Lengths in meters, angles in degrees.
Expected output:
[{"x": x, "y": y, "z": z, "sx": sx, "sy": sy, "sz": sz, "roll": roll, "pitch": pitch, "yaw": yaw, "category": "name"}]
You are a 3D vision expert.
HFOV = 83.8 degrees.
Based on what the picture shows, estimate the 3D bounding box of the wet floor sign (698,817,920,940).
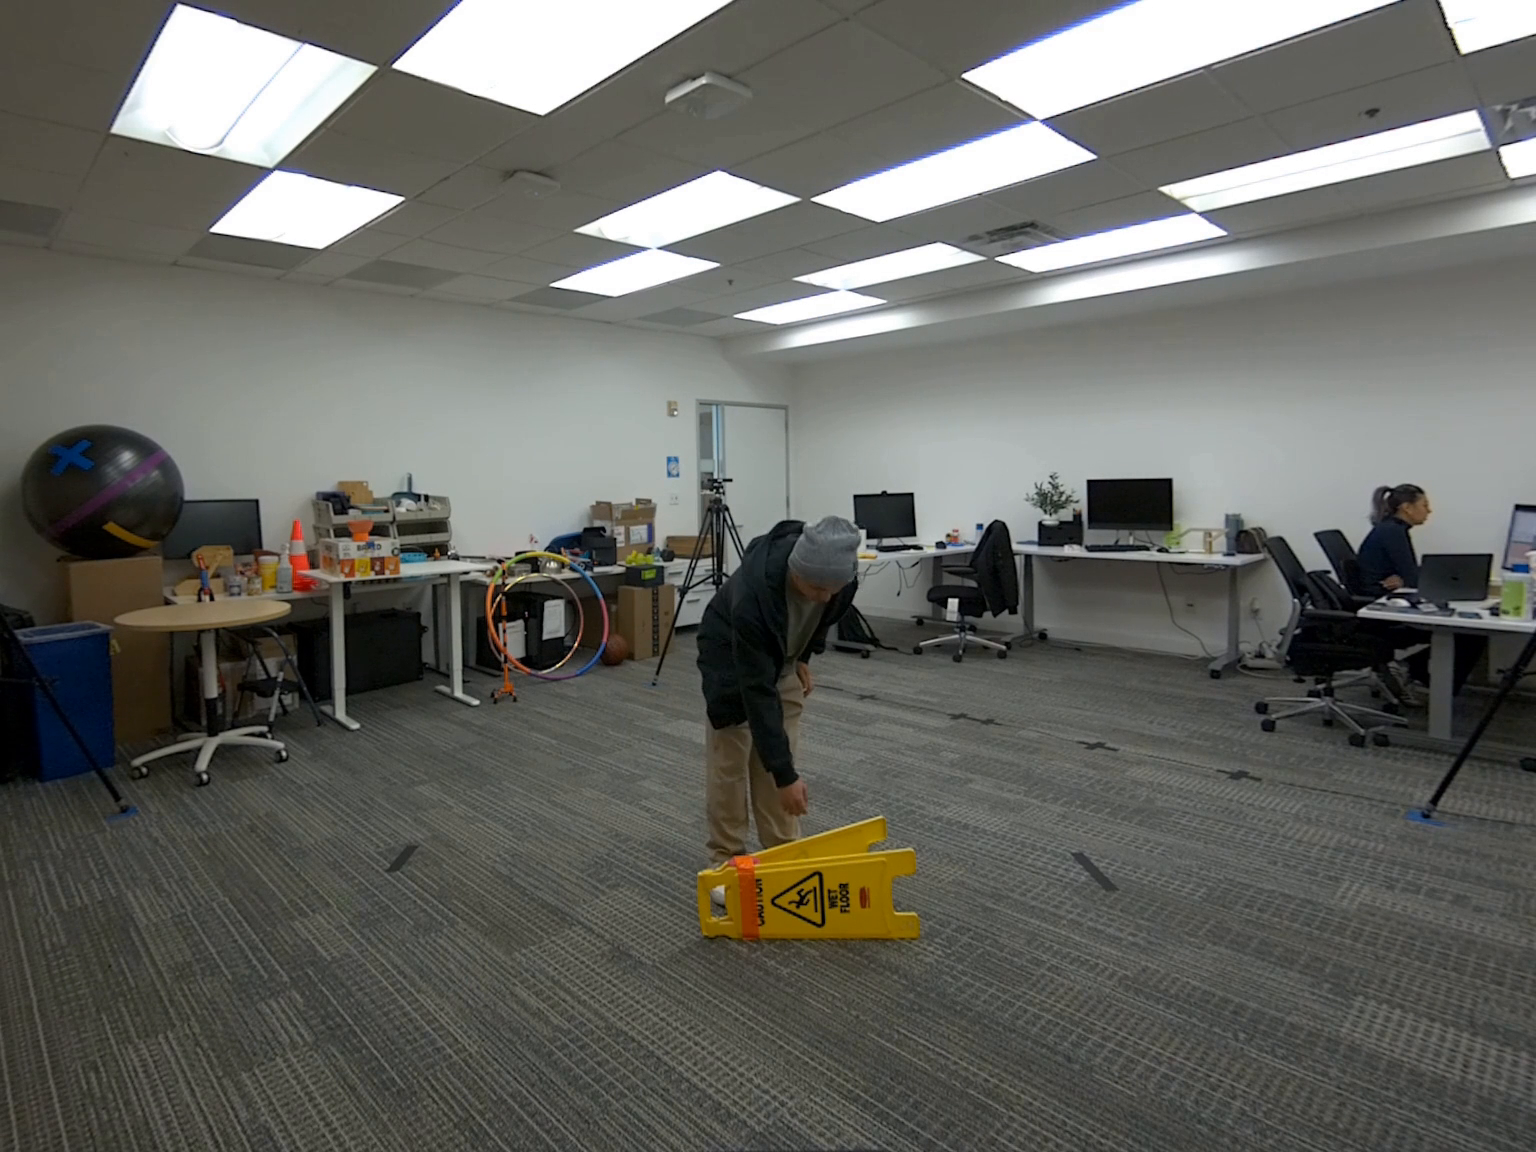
[{"x": 0.113, "y": 0.971, "z": 2.640, "sx": 0.641, "sy": 0.281, "sz": 0.294, "roll": -5, "pitch": 6, "yaw": -10, "category": "wet floor sign"}]
